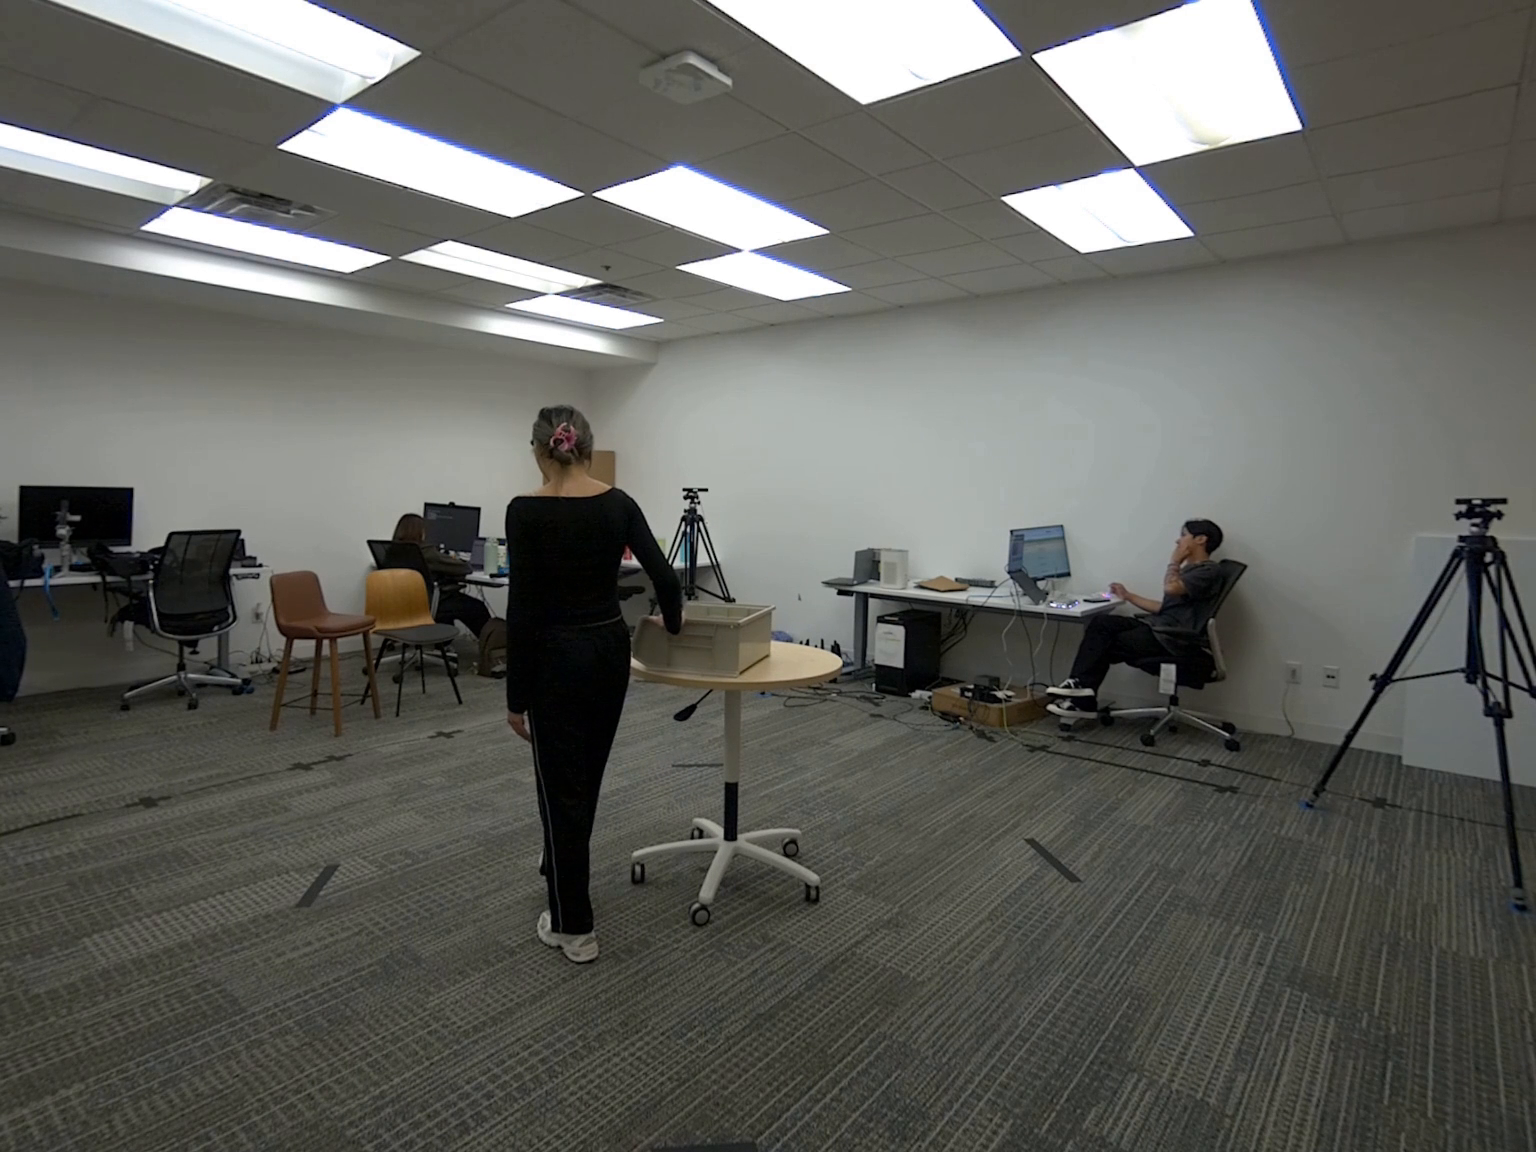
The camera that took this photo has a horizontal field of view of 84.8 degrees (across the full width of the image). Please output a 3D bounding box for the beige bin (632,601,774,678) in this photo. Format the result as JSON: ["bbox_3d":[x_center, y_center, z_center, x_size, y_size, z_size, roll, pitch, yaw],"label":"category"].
[{"bbox_3d":[-0.220,0.204,2.928,0.384,0.188,0.416,3,5,16],"label":"beige bin"}]
